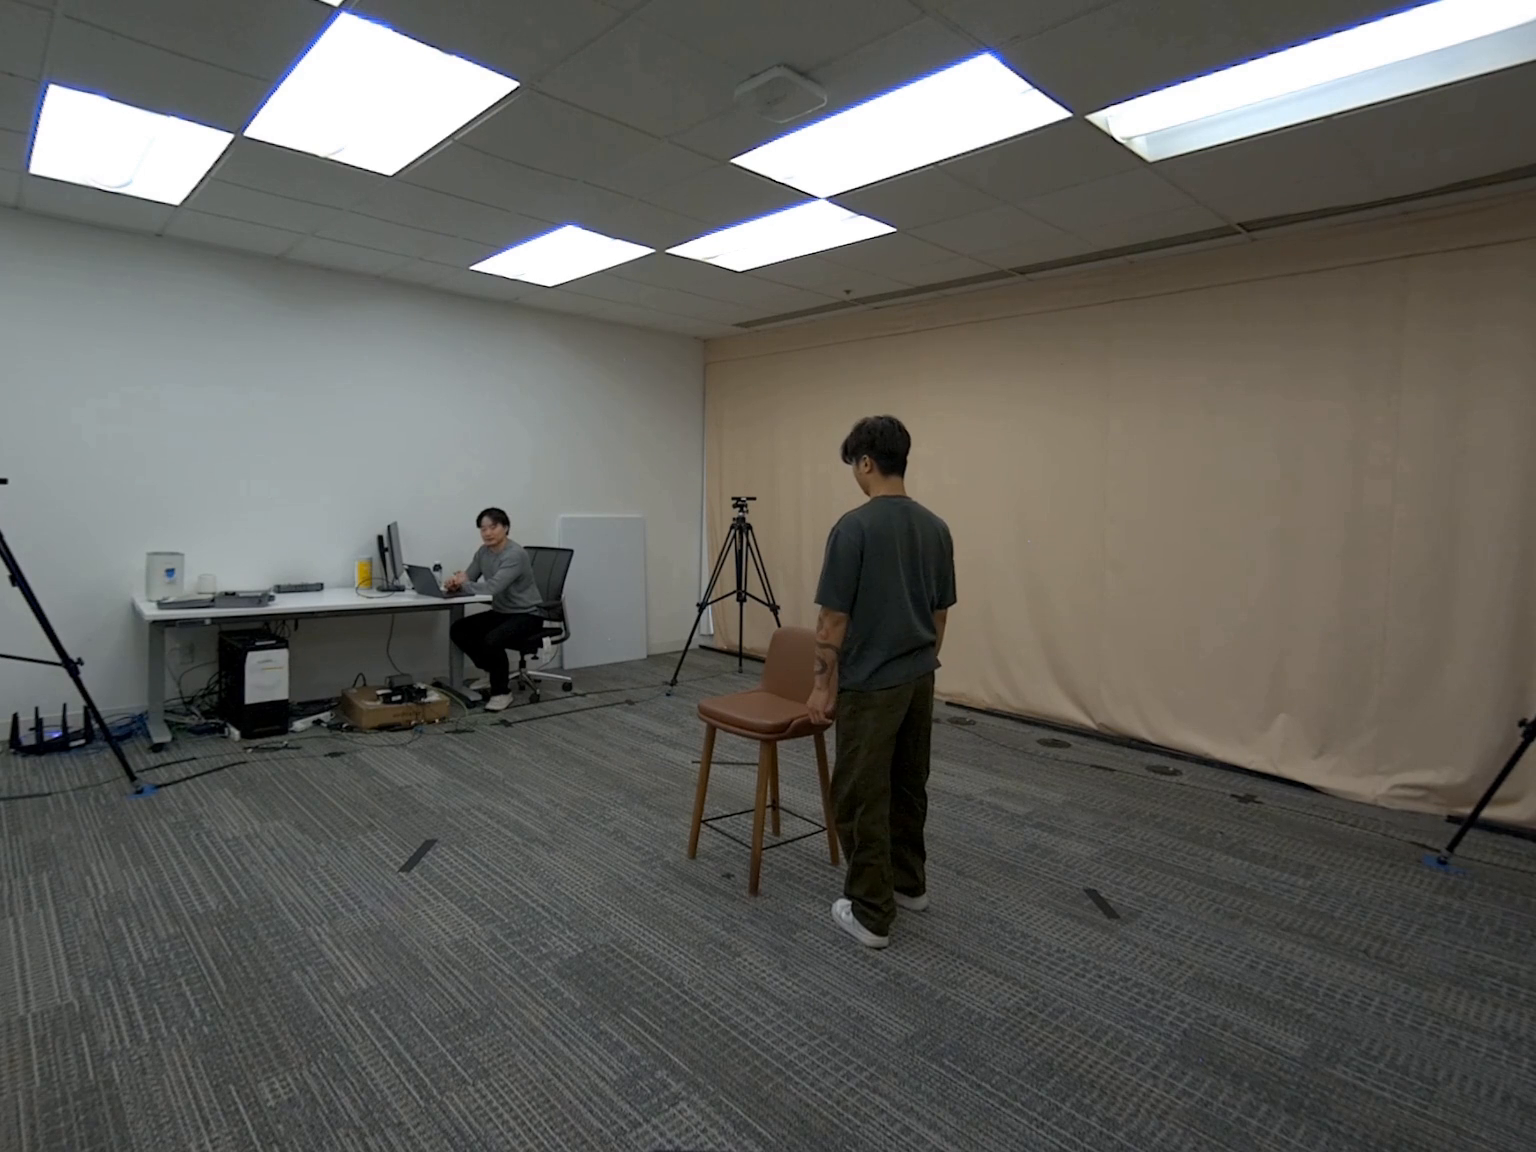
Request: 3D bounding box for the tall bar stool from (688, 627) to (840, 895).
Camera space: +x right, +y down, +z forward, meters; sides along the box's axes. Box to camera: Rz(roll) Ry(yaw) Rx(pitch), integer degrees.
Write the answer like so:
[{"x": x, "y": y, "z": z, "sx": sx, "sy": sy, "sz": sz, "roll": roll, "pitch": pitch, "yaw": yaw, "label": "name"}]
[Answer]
[{"x": -0.007, "y": 0.666, "z": 3.221, "sx": 0.456, "sy": 0.888, "sz": 0.468, "roll": 1, "pitch": 3, "yaw": -39, "label": "tall bar stool"}]
